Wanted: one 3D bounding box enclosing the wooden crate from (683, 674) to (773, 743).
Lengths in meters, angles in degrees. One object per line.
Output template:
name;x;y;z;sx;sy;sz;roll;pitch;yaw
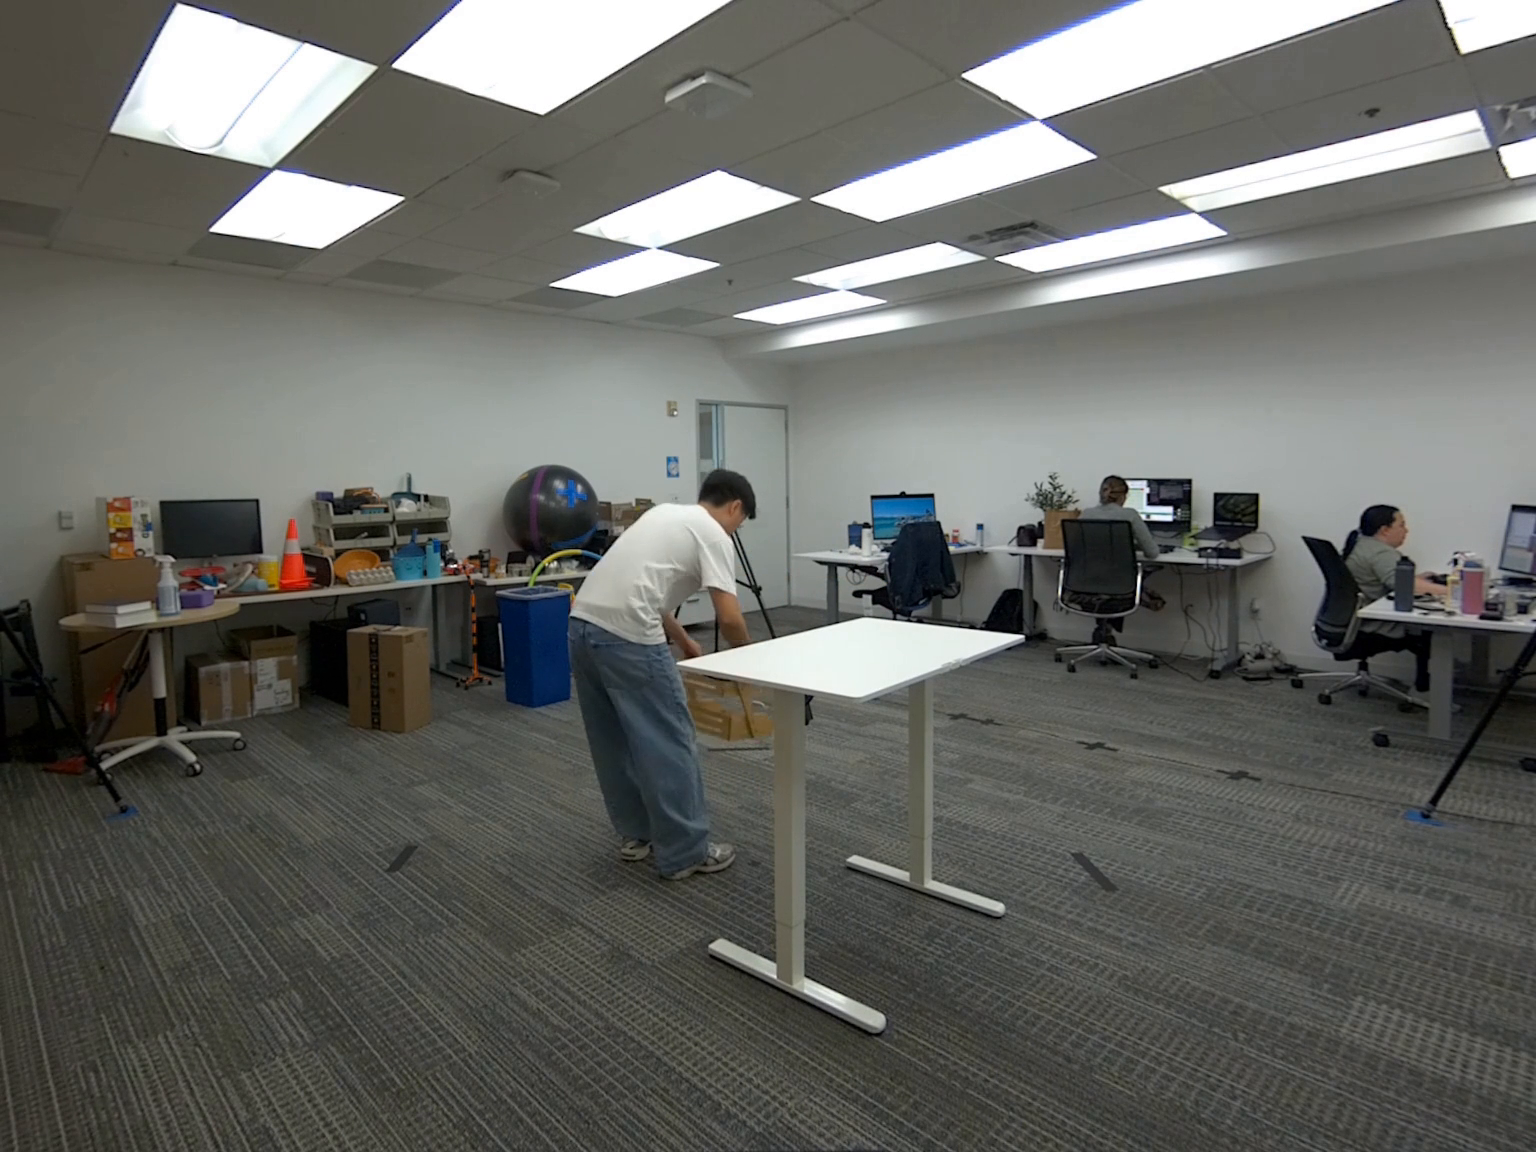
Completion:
wooden crate;-0.164;0.467;3.342;0.335;0.273;0.293;5;2;43
